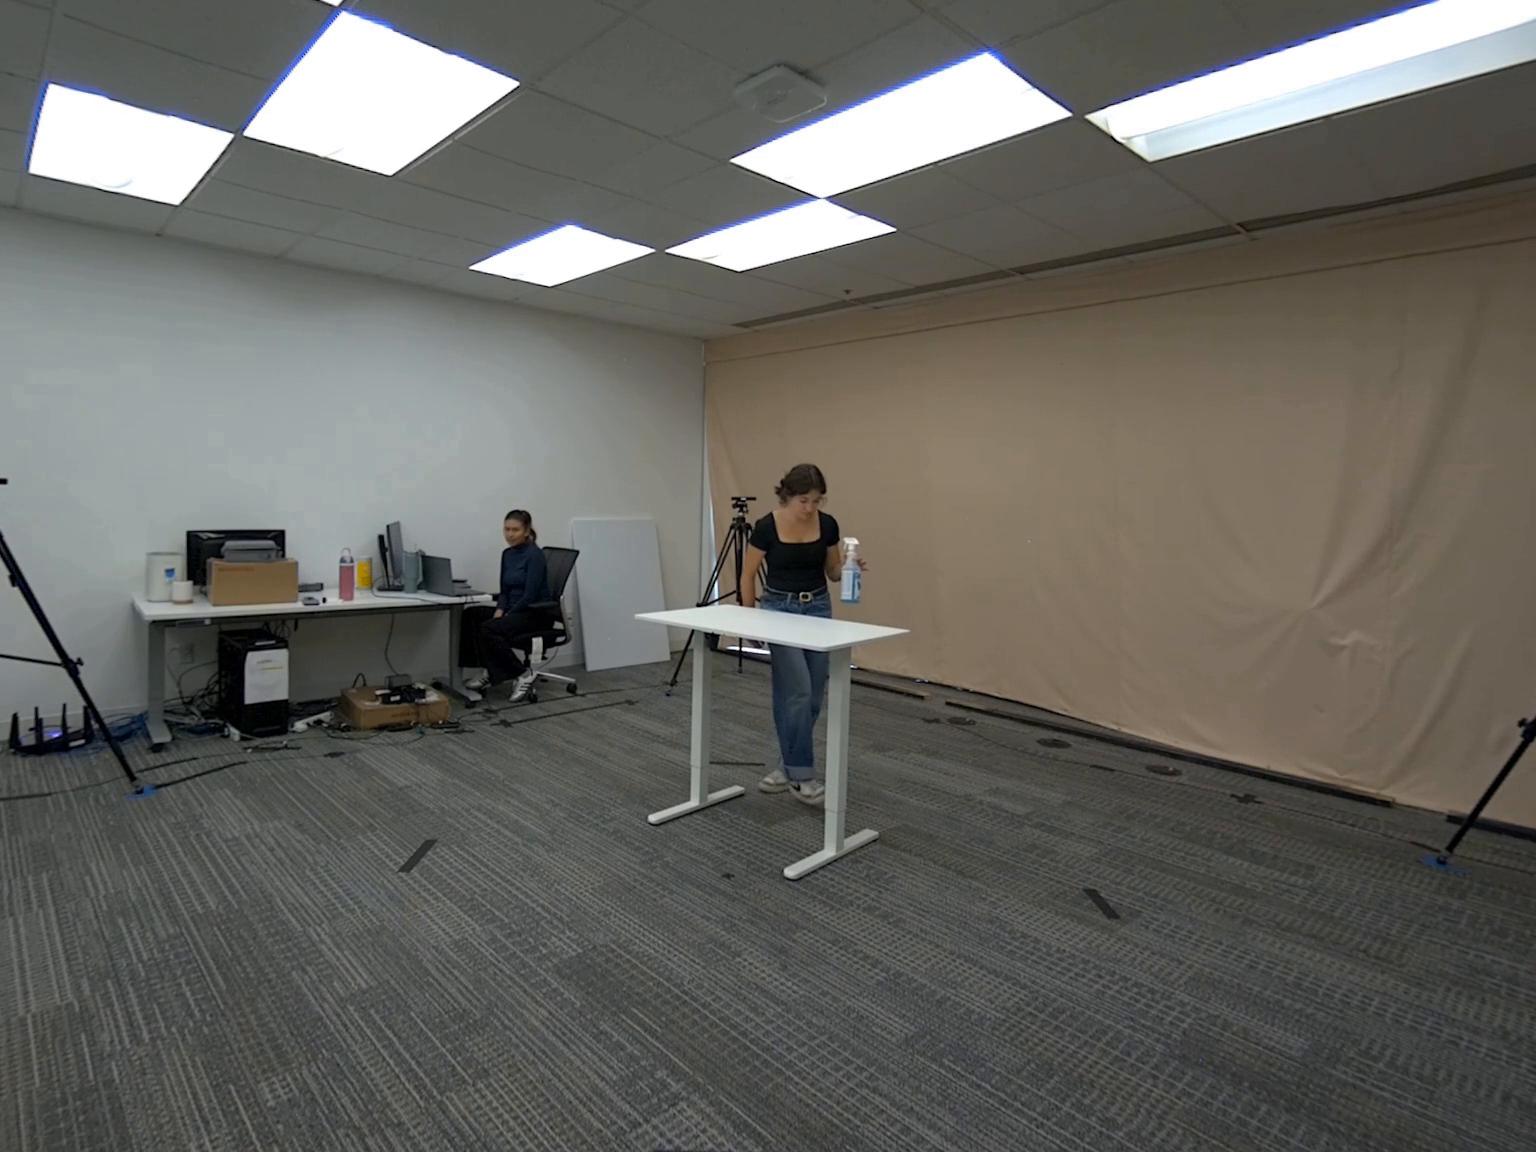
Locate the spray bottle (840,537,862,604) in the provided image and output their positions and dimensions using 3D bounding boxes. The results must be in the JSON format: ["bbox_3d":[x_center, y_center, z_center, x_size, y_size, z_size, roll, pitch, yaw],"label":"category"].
[{"bbox_3d":[0.370,-0.026,3.810,0.086,0.298,0.090,3,-5,-12],"label":"spray bottle"}]
